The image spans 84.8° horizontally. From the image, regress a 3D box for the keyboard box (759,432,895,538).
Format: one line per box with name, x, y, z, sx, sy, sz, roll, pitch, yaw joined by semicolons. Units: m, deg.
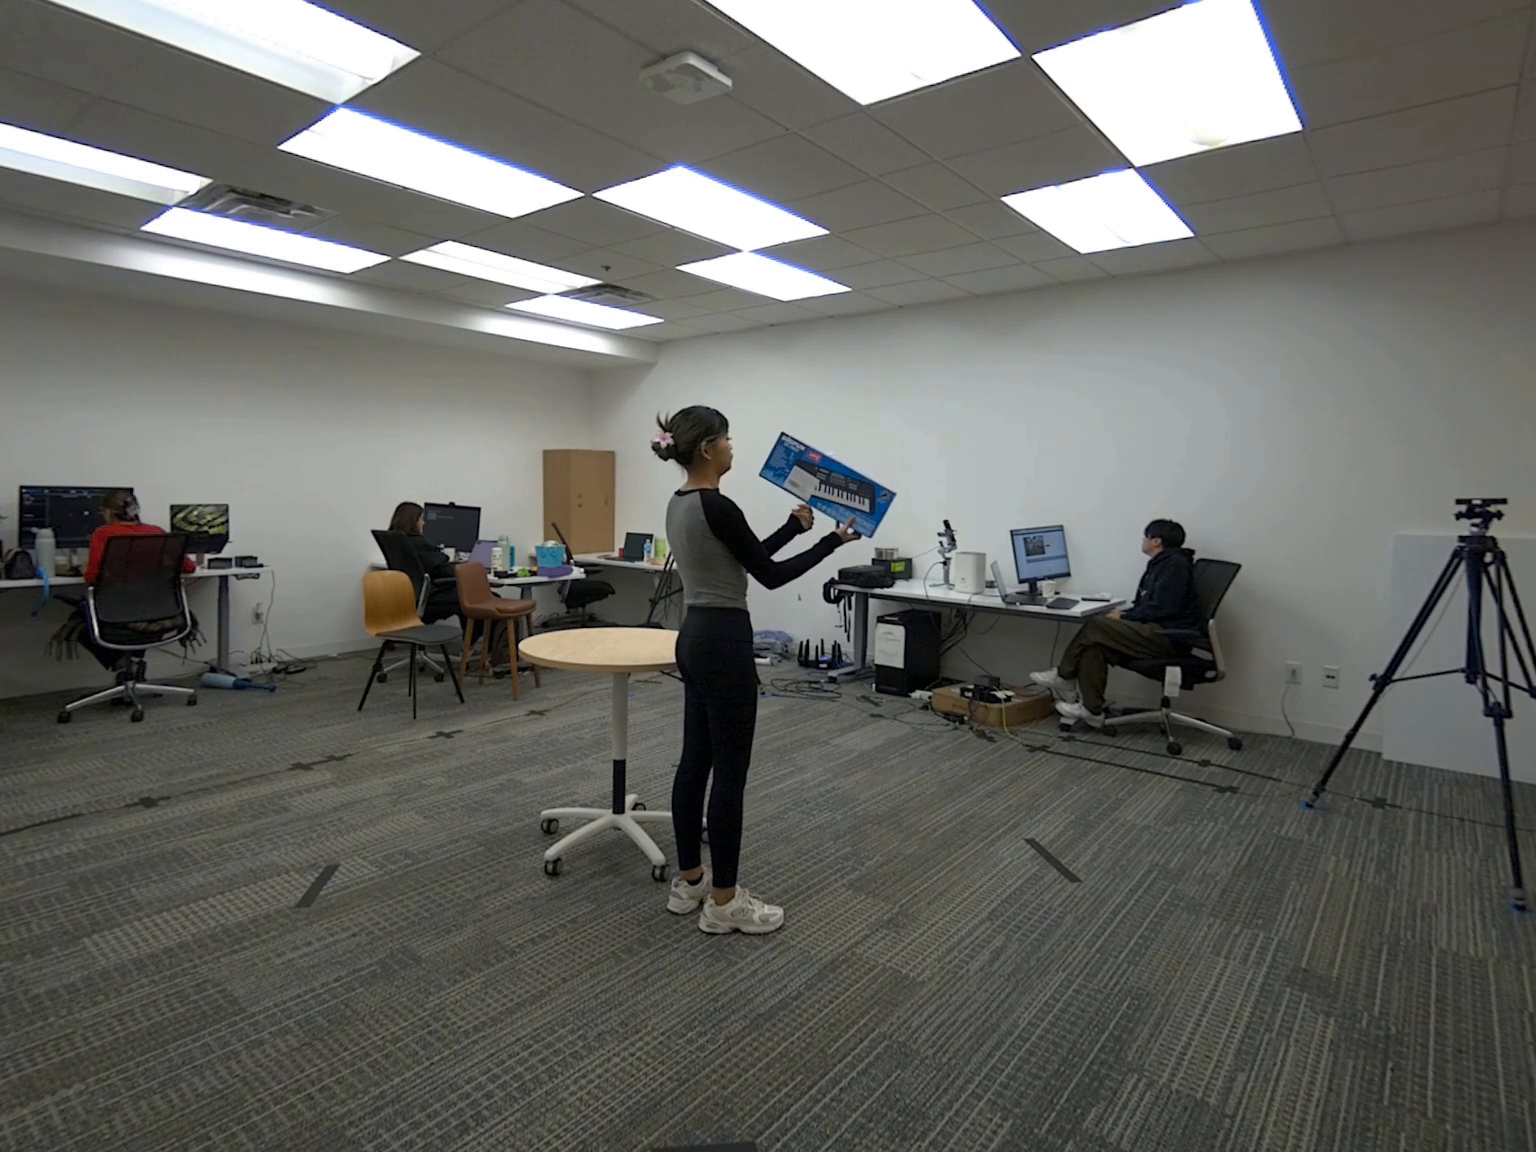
keyboard box;0.190;-0.307;2.851;0.446;0.175;0.058;30;10;14
